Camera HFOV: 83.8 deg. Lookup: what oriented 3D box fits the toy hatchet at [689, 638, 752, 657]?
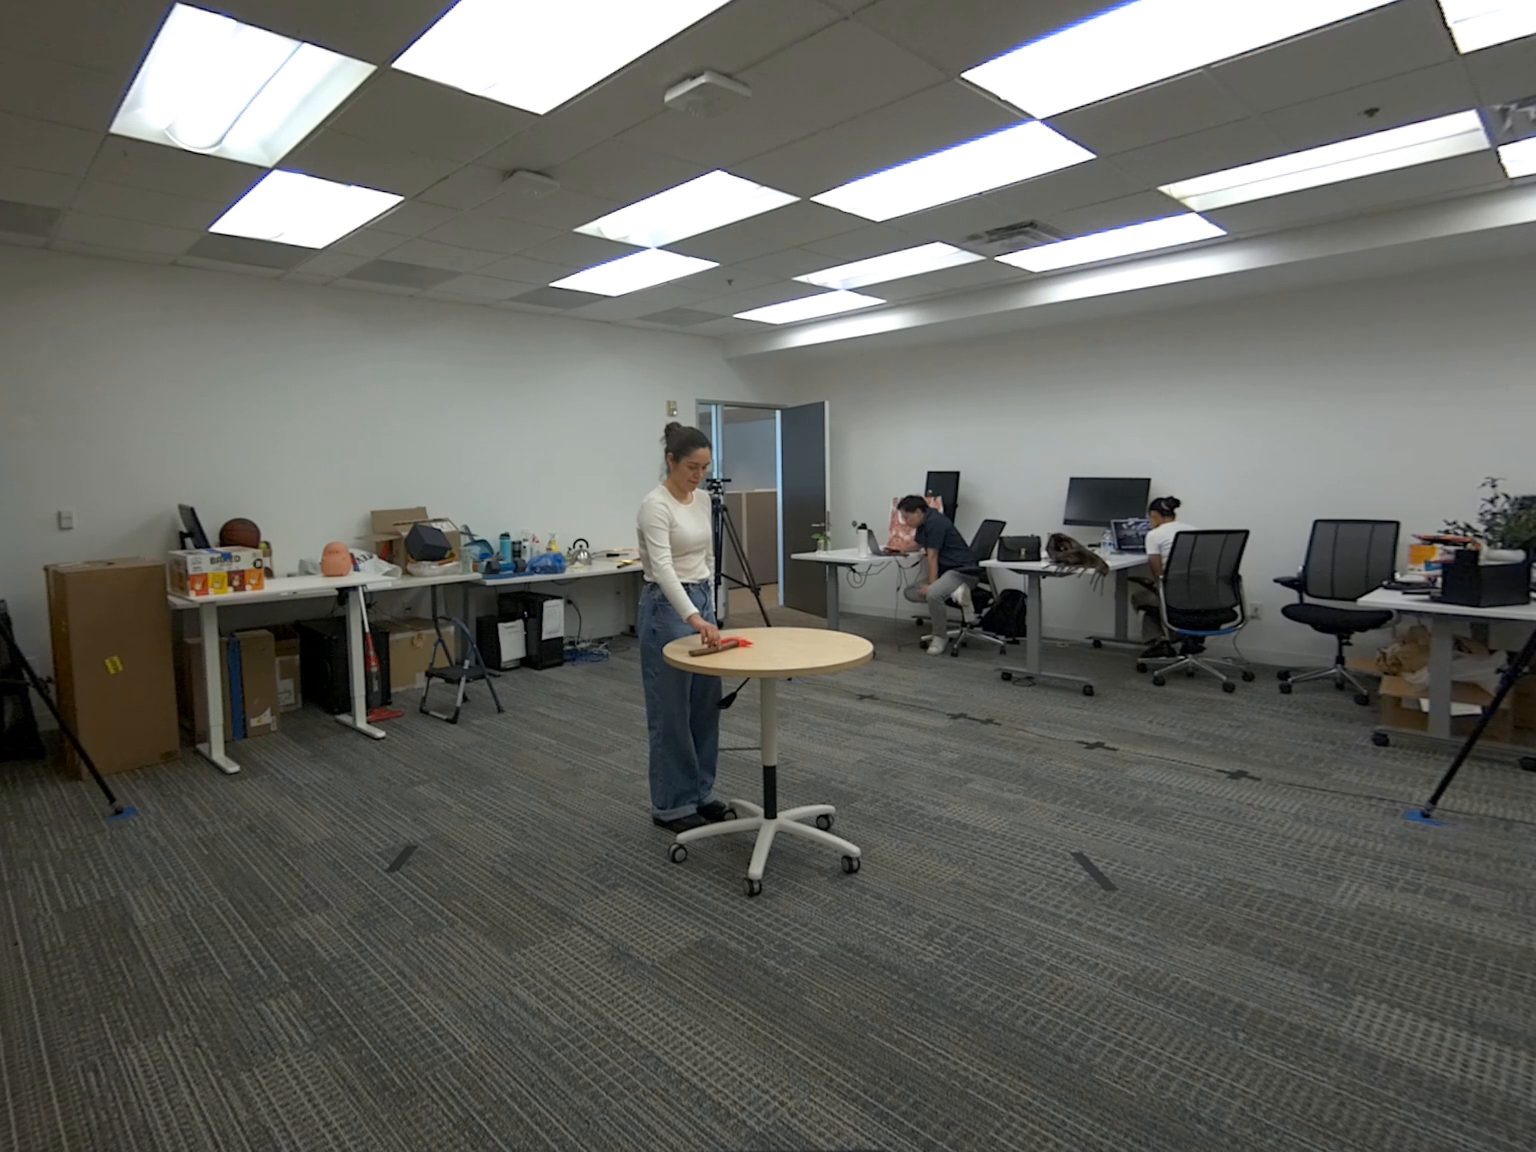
[{"bbox_3d":[-0.192,0.255,3.089,0.263,0.029,0.135,-7,13,-36],"label":"toy hatchet"}]
